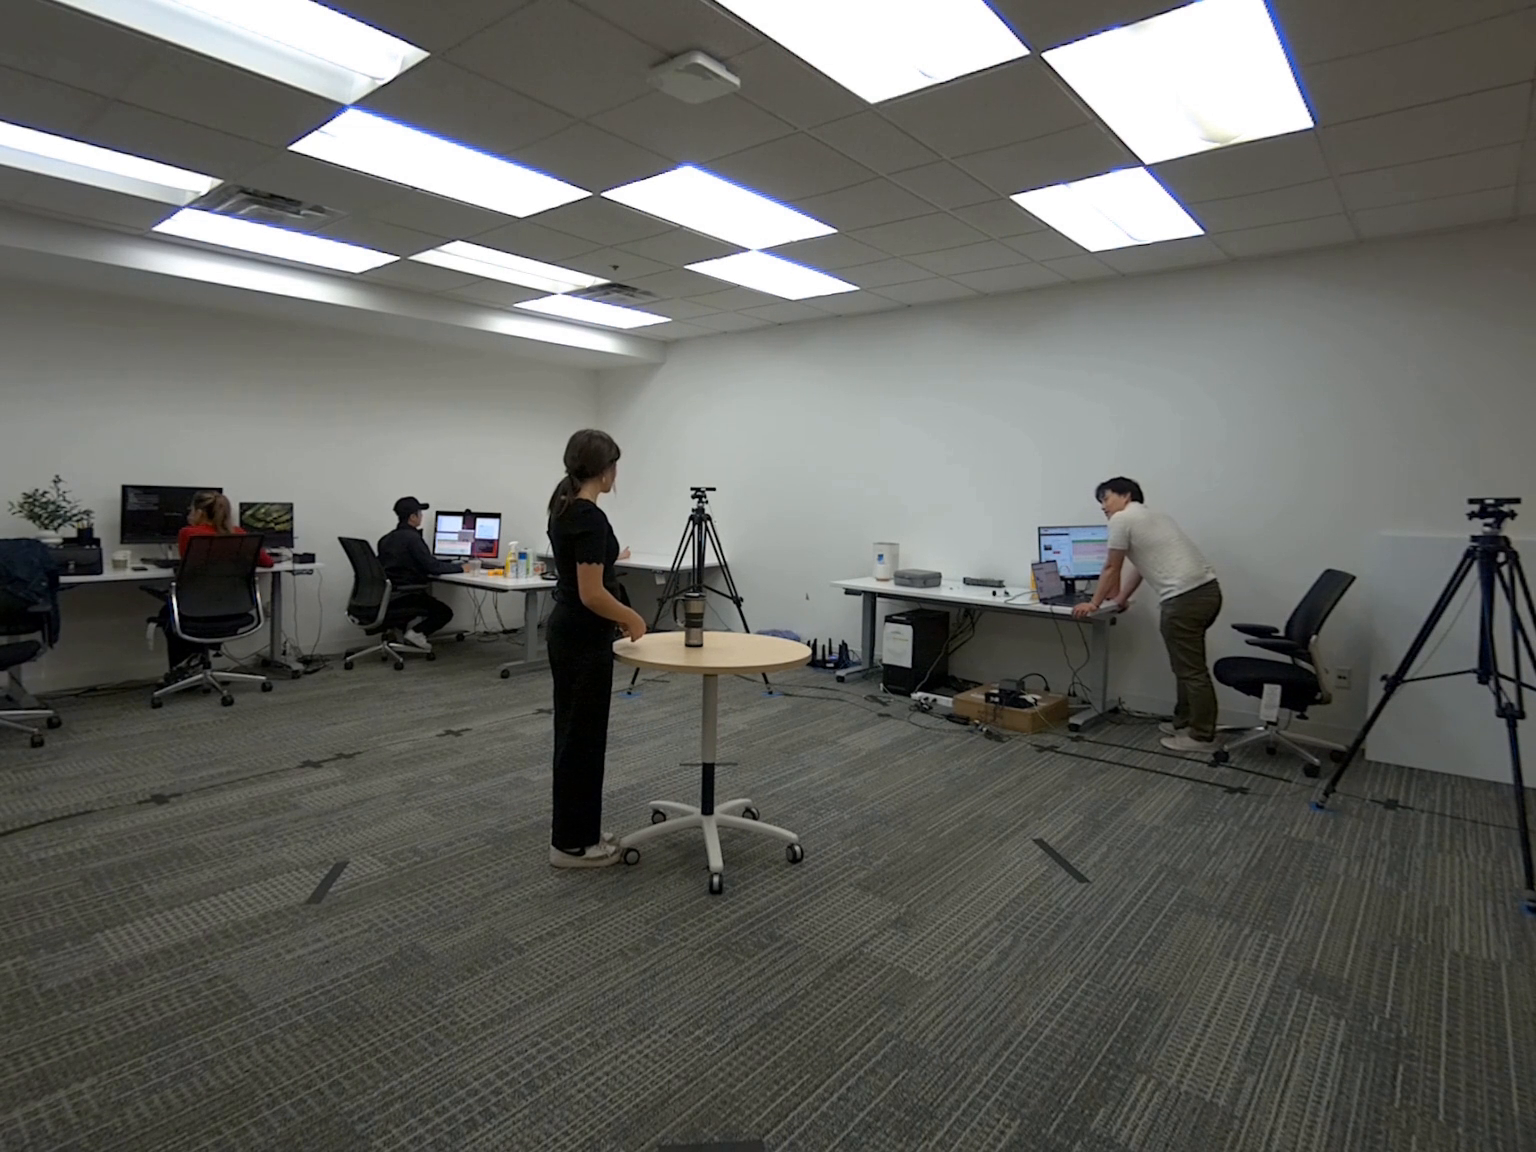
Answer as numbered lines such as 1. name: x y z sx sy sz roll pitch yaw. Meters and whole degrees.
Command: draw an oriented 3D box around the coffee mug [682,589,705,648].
1. coffee mug: -0.312 0.171 3.267 0.126 0.201 0.085 5 10 42
